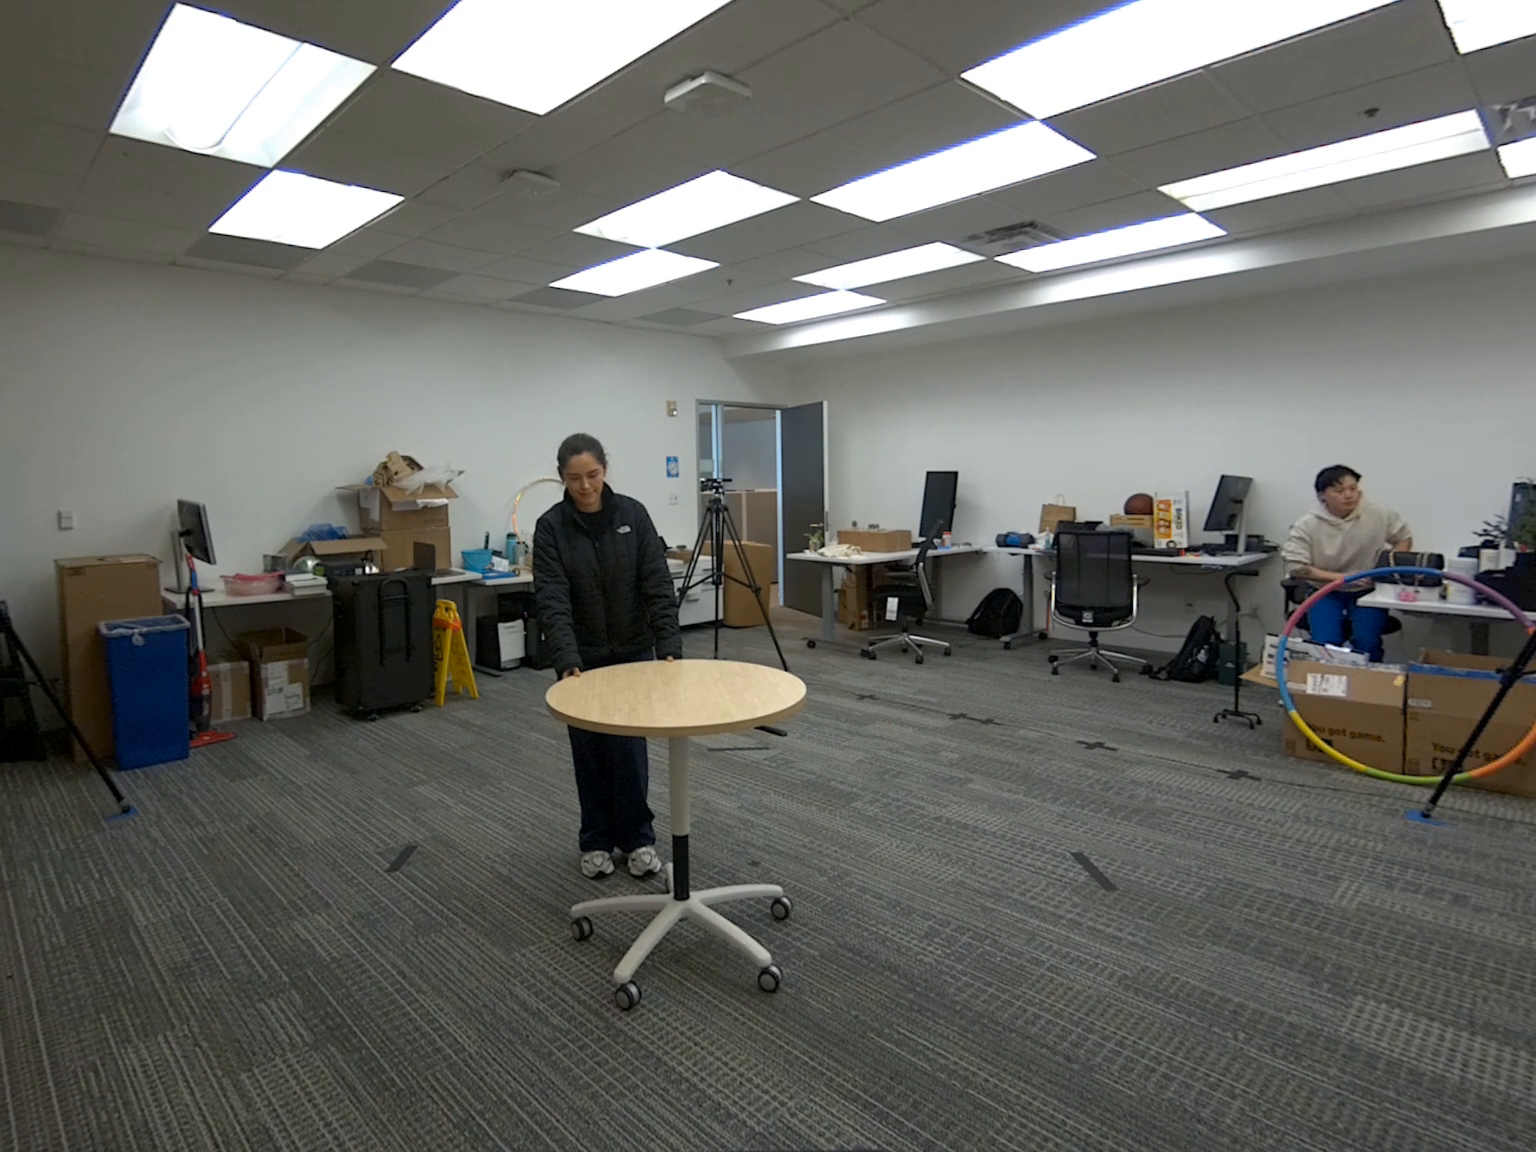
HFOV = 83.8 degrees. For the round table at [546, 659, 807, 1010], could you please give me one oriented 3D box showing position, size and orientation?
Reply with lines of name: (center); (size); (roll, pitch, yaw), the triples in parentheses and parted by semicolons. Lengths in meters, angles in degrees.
round table: (-0.252, 0.719, 2.581); (0.784, 0.783, 0.789); (-1, 5, -2)
